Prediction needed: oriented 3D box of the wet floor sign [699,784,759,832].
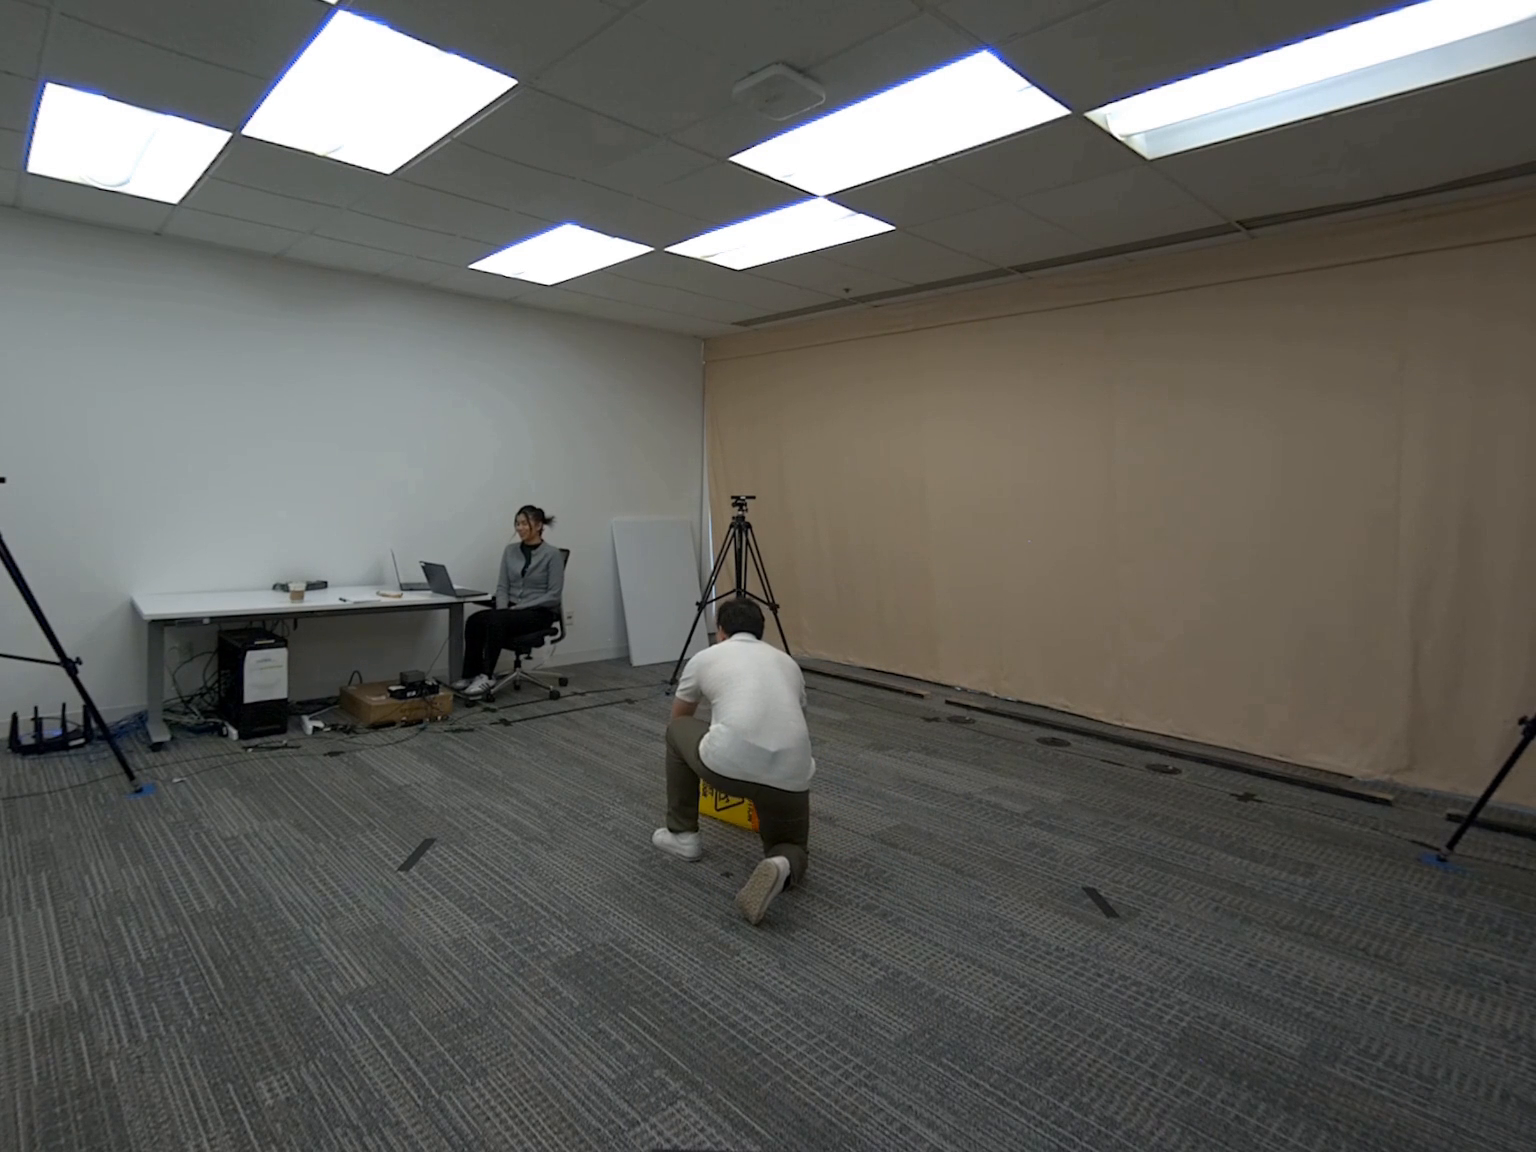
[{"bbox_3d":[-0.129,0.927,3.655,0.283,0.281,0.663,-2,9,-38],"label":"wet floor sign"}]
